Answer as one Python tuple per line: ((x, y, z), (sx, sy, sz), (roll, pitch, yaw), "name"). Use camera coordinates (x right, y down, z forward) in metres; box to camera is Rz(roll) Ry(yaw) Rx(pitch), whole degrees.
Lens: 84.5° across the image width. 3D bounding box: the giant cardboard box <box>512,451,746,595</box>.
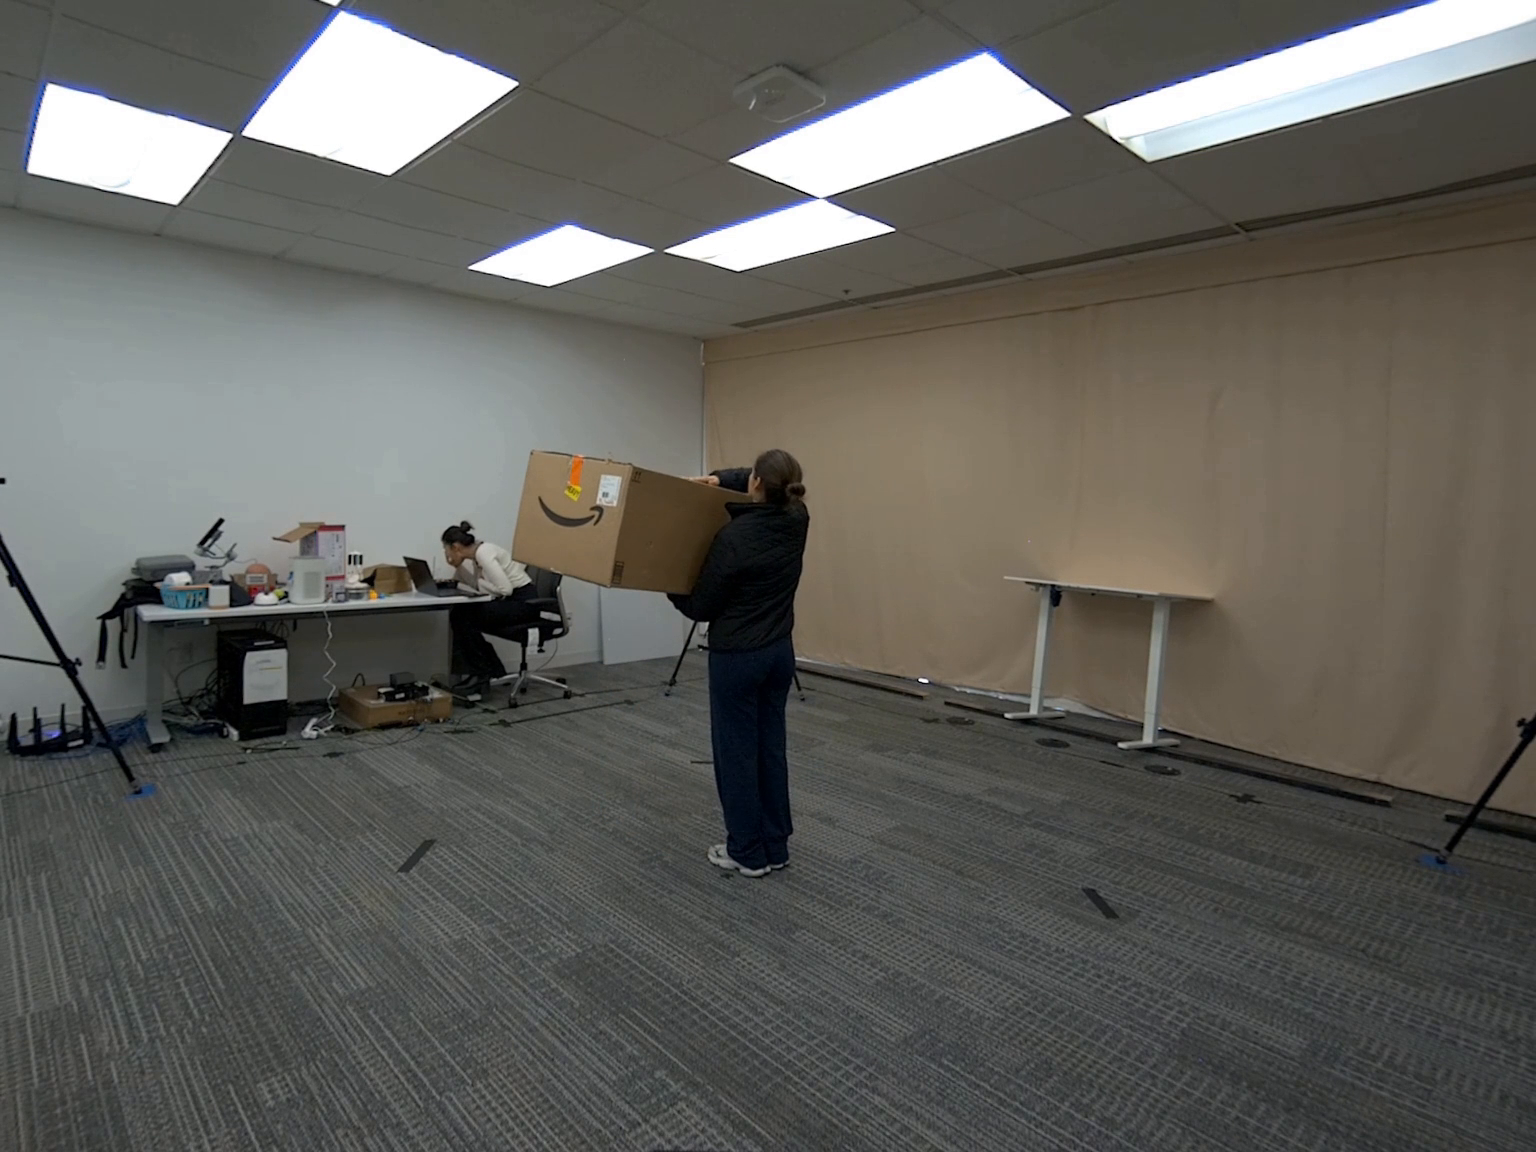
((-0.410, -0.174, 3.370), (0.593, 0.426, 0.999), (12, 2, 38), "giant cardboard box")
